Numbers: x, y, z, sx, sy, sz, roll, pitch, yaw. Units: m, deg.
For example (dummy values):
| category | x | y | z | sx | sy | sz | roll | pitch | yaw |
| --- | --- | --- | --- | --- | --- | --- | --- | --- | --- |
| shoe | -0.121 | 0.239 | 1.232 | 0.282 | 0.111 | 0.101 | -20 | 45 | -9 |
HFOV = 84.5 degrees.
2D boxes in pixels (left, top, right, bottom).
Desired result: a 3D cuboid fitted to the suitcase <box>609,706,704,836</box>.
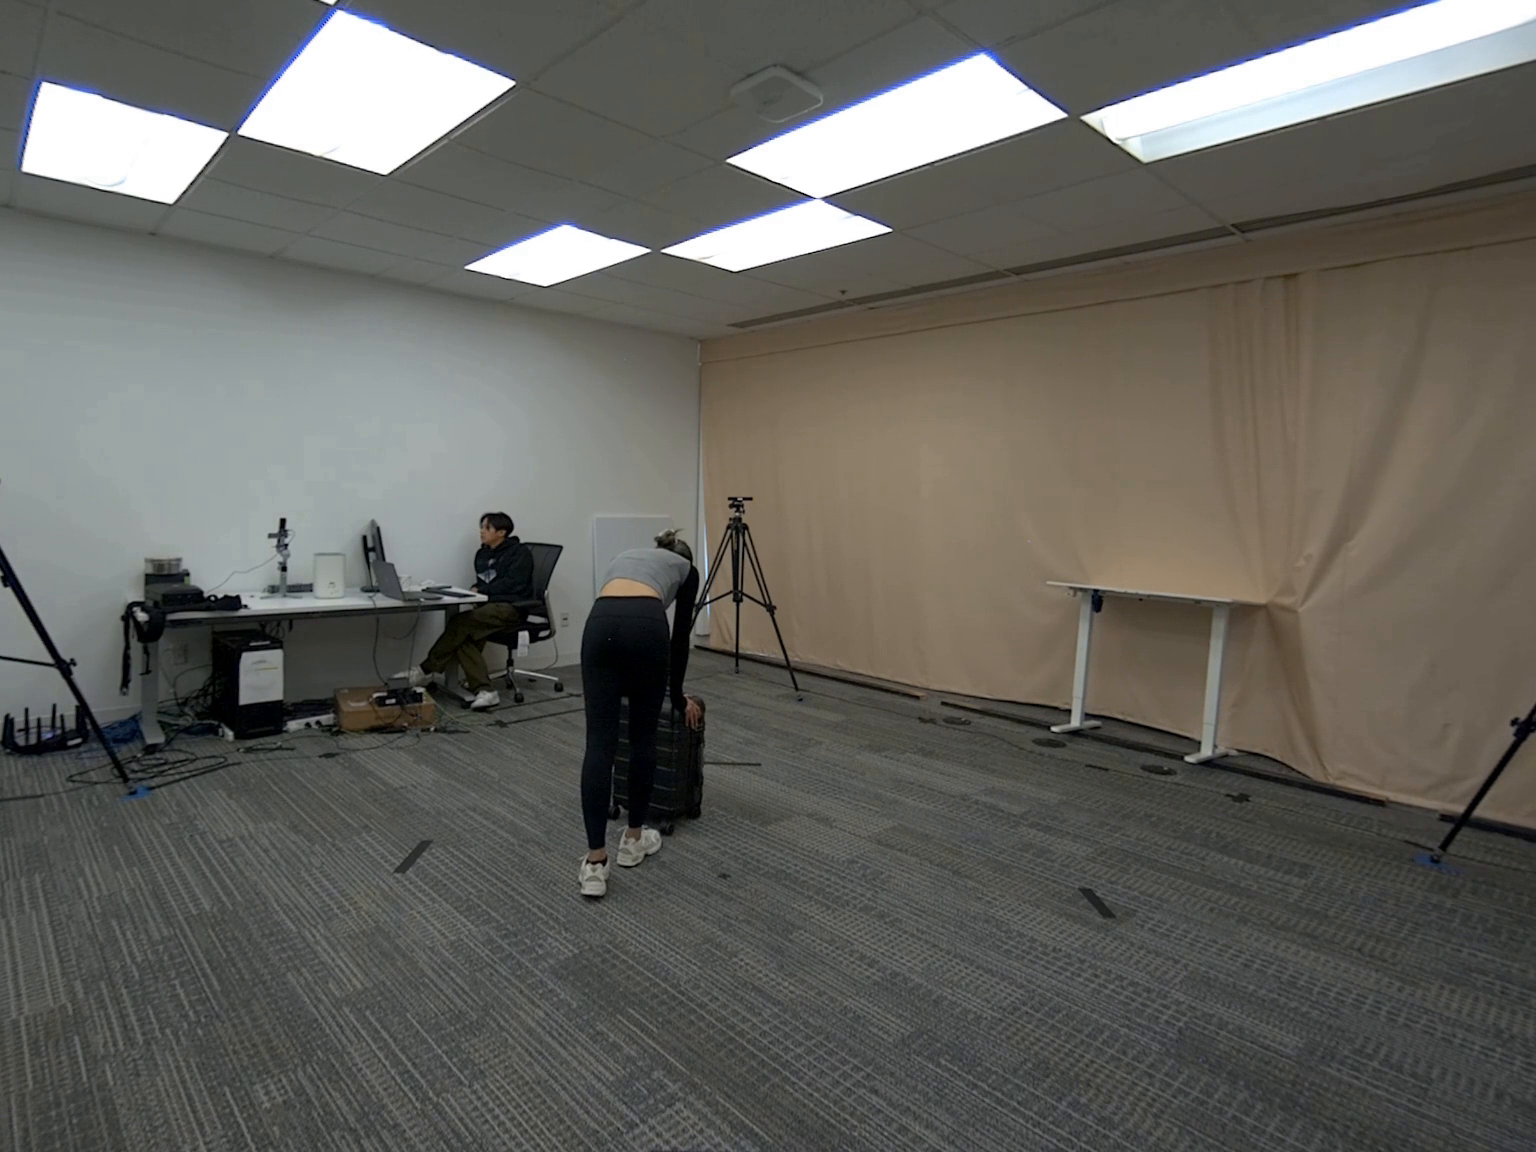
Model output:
| category | x | y | z | sx | sy | sz | roll | pitch | yaw |
| --- | --- | --- | --- | --- | --- | --- | --- | --- | --- |
| suitcase | -0.478 | 0.783 | 3.663 | 0.384 | 0.549 | 0.243 | 5 | 2 | 30 |
